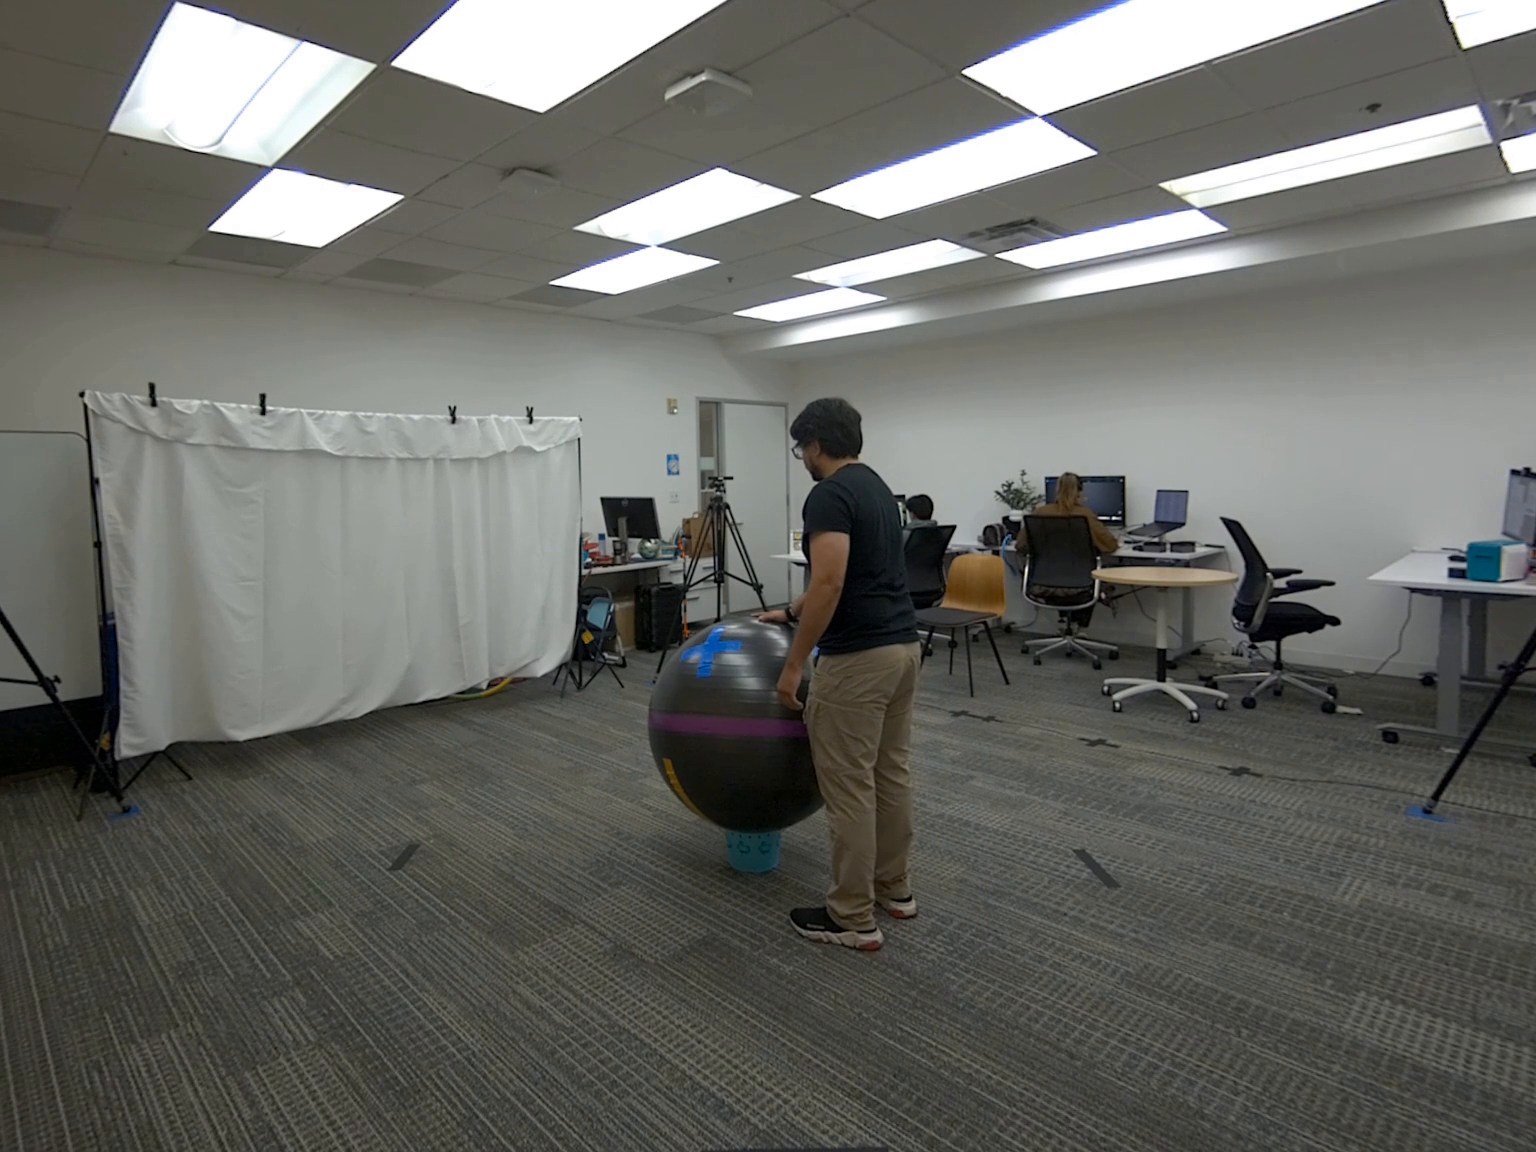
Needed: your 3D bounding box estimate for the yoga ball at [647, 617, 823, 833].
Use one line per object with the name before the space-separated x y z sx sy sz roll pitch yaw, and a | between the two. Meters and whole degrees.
yoga ball | -0.055 0.529 3.094 0.757 0.755 0.762 -1 5 -2
